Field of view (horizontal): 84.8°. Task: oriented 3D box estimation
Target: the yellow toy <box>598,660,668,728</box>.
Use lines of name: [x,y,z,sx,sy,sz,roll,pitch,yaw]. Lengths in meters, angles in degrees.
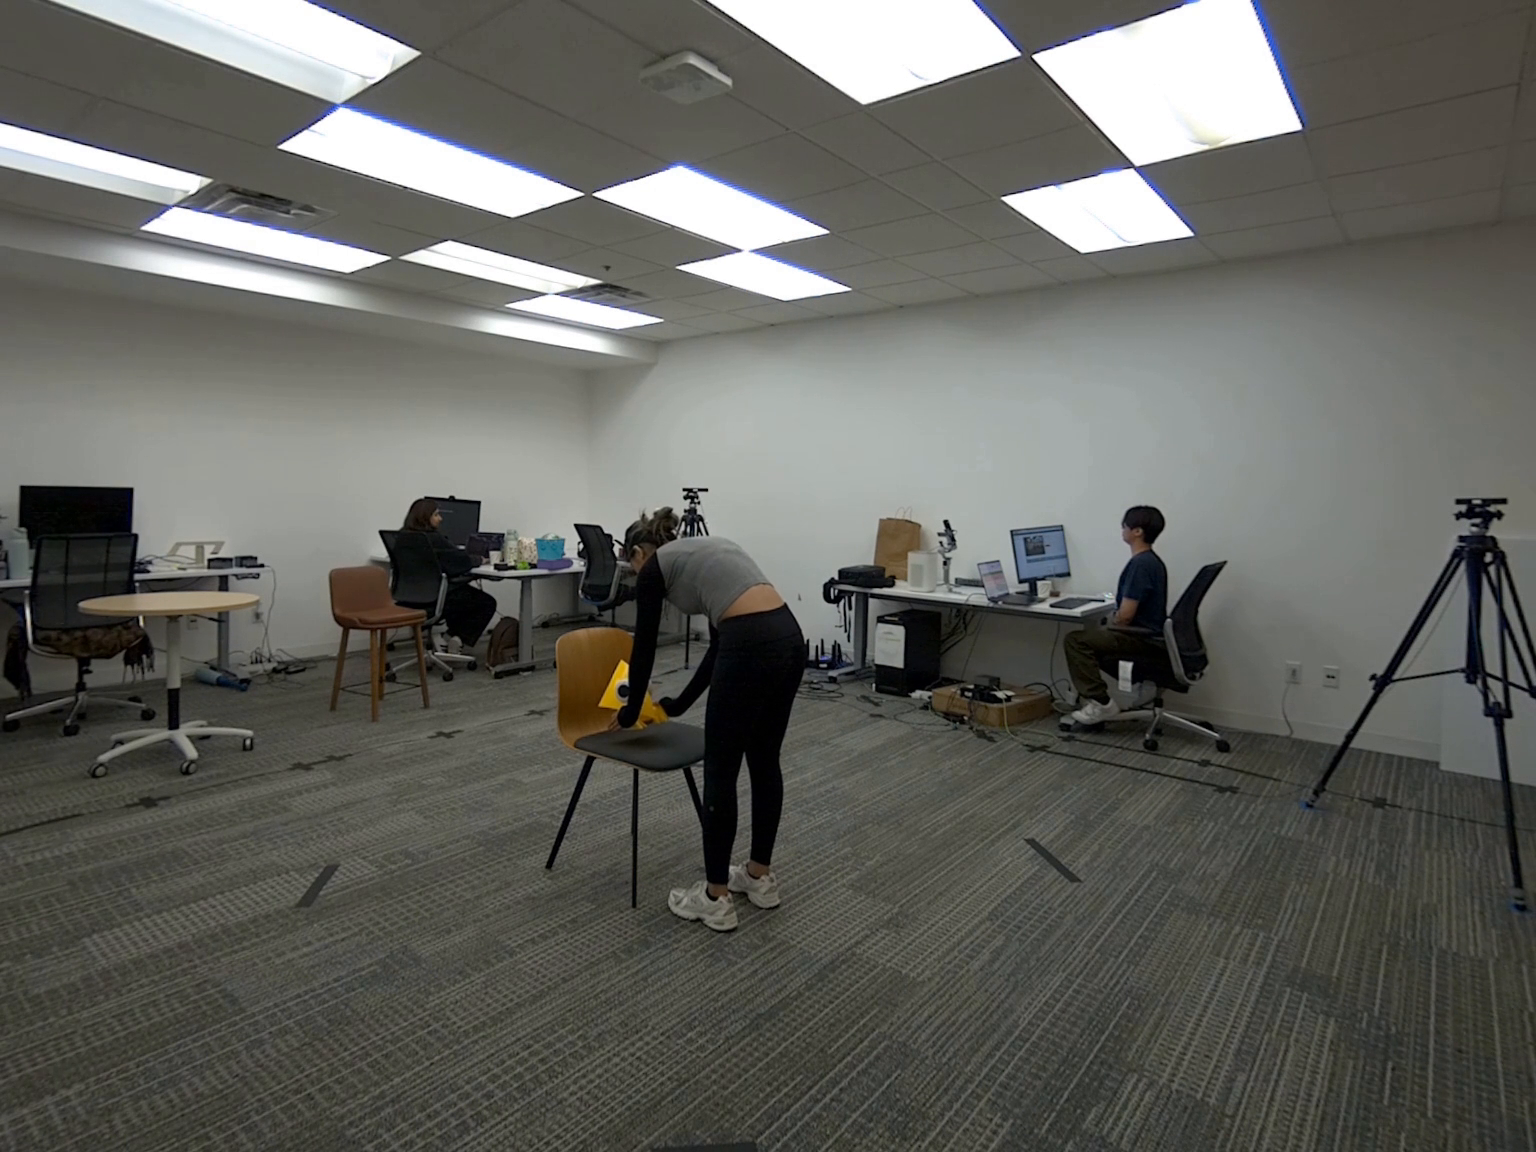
yellow toy: [-0.493,0.424,3.074,0.198,0.231,0.199,-7,-1,41]
